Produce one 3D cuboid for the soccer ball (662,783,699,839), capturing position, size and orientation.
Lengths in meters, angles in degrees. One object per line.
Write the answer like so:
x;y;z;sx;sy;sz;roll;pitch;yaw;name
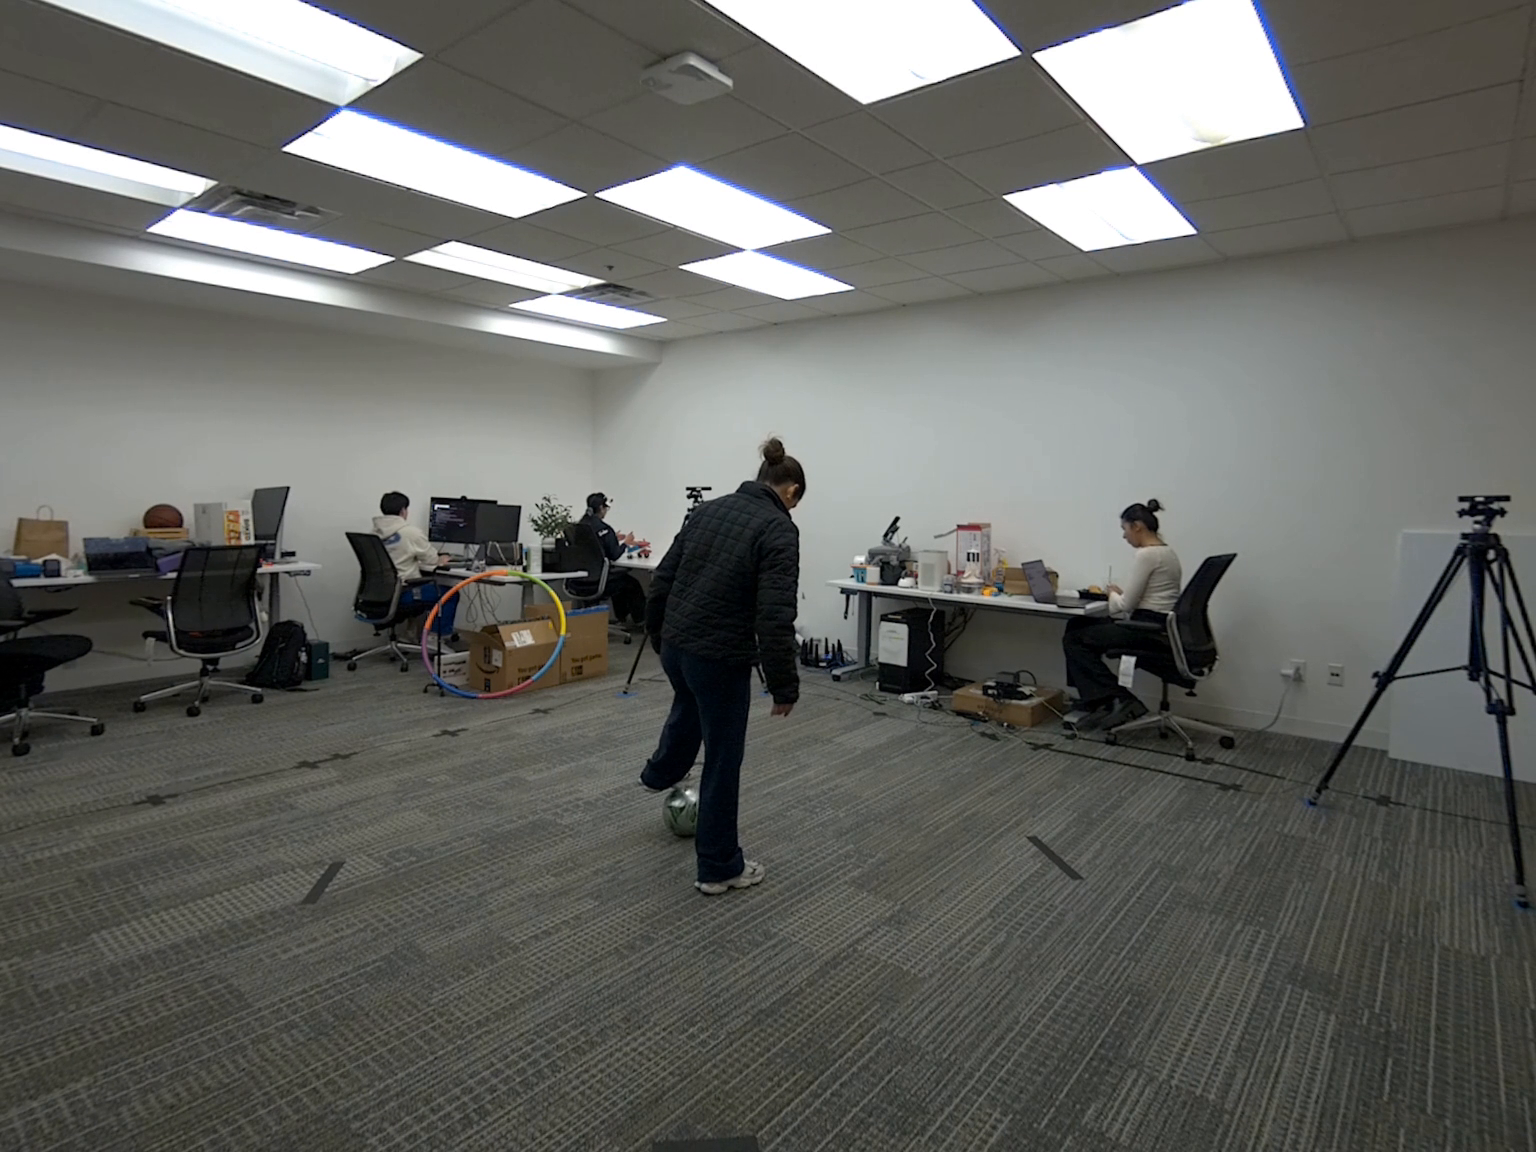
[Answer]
-0.339;0.942;3.406;0.187;0.187;0.188;1;4;-2;soccer ball
